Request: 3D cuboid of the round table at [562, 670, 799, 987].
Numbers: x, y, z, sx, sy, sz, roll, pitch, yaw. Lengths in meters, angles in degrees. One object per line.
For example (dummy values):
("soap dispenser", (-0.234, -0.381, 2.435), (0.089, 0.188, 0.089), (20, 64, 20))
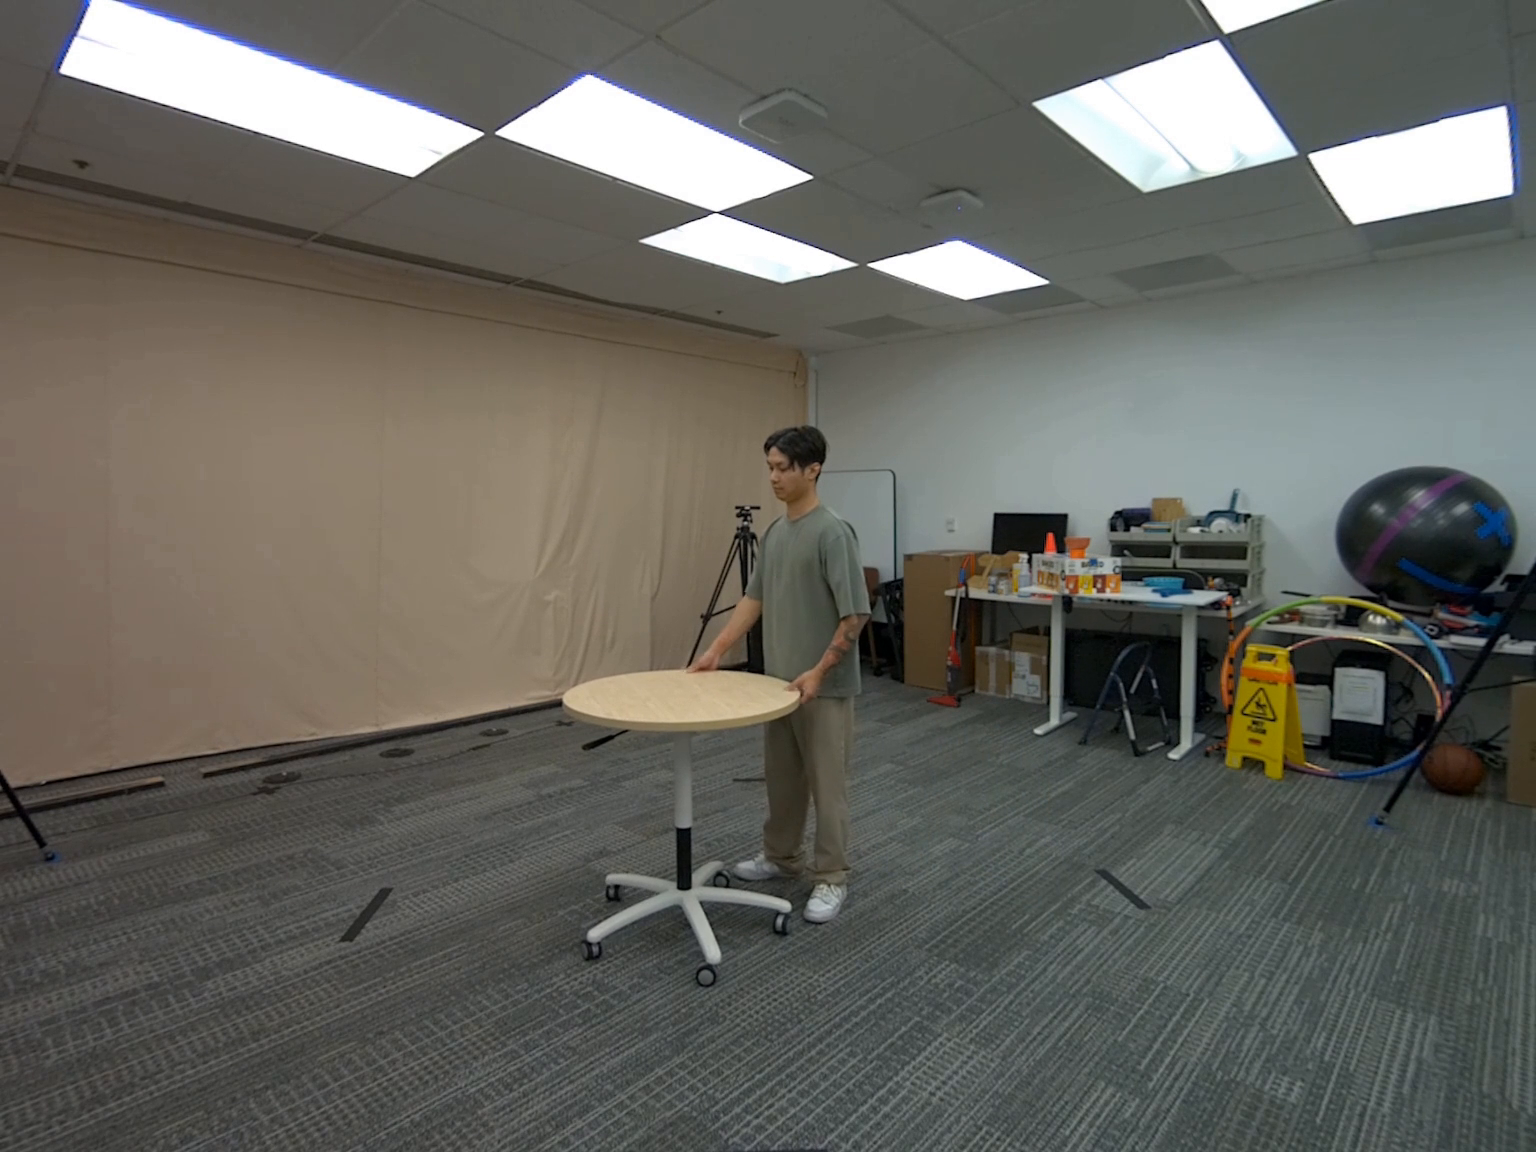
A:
("round table", (-0.264, 0.770, 2.748), (0.784, 0.785, 0.788), (-1, 4, -2))
